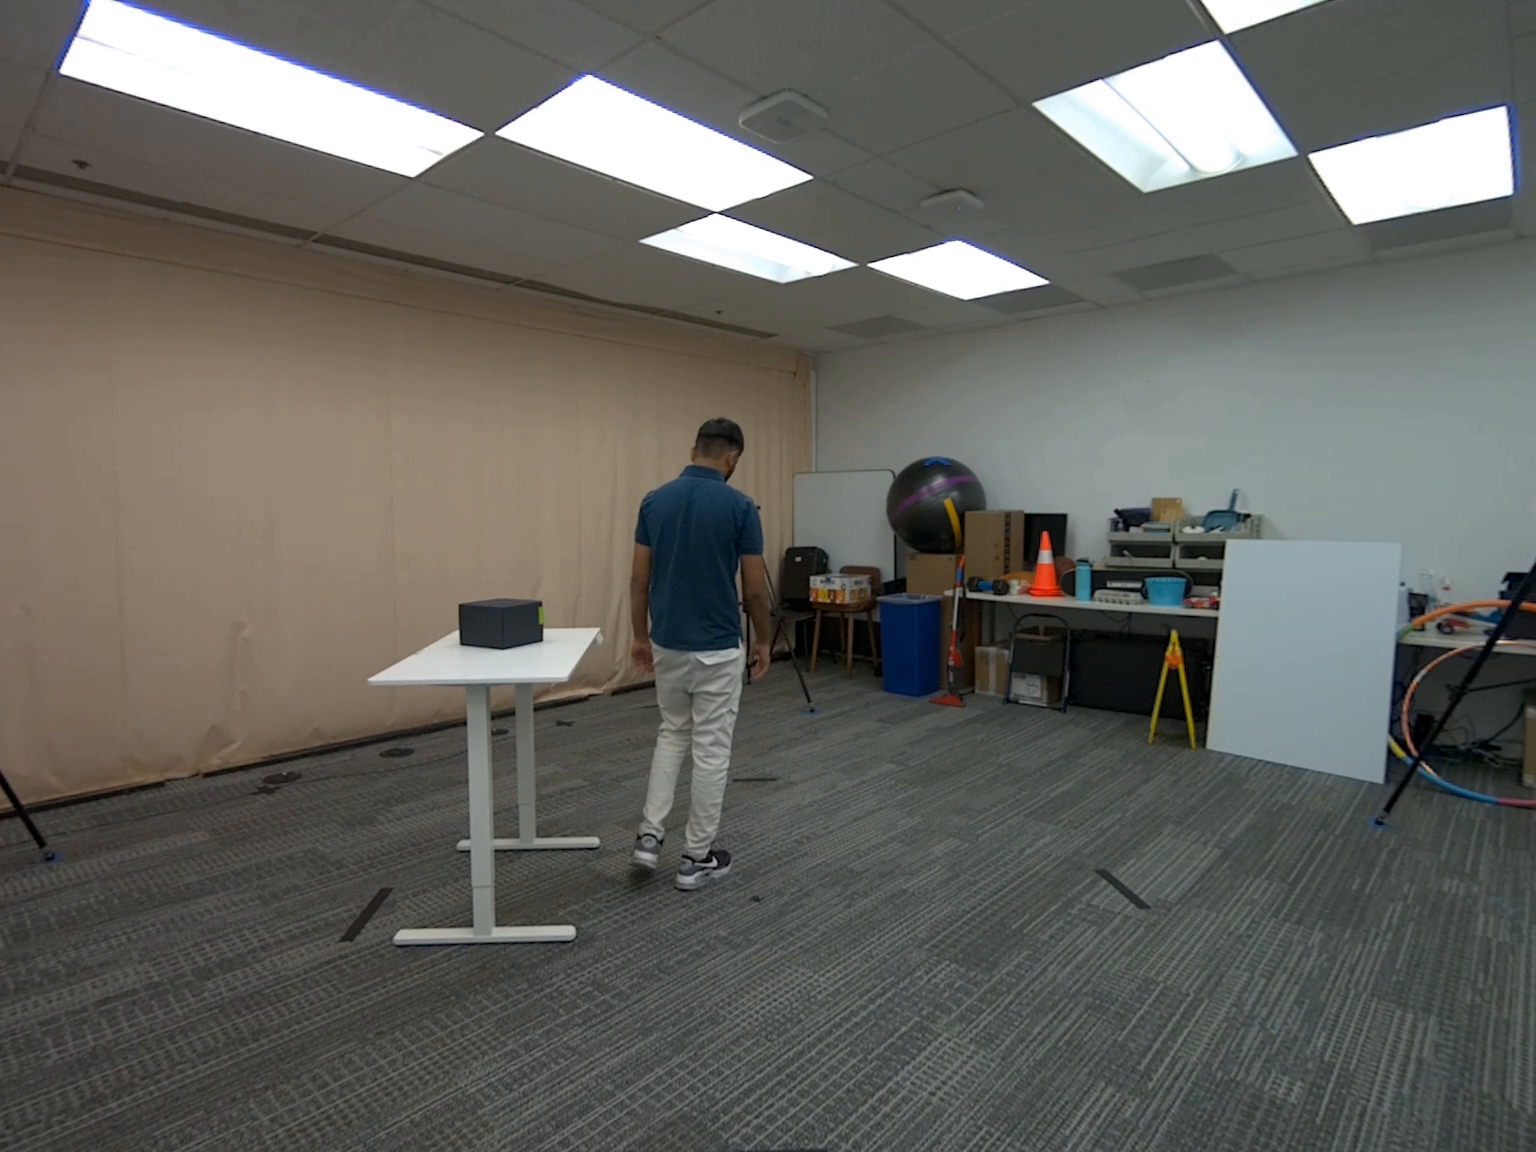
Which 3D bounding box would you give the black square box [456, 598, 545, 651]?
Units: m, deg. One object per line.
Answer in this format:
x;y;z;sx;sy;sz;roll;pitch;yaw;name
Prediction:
-1.003;0.176;3.176;0.234;0.155;0.211;1;4;29;black square box
